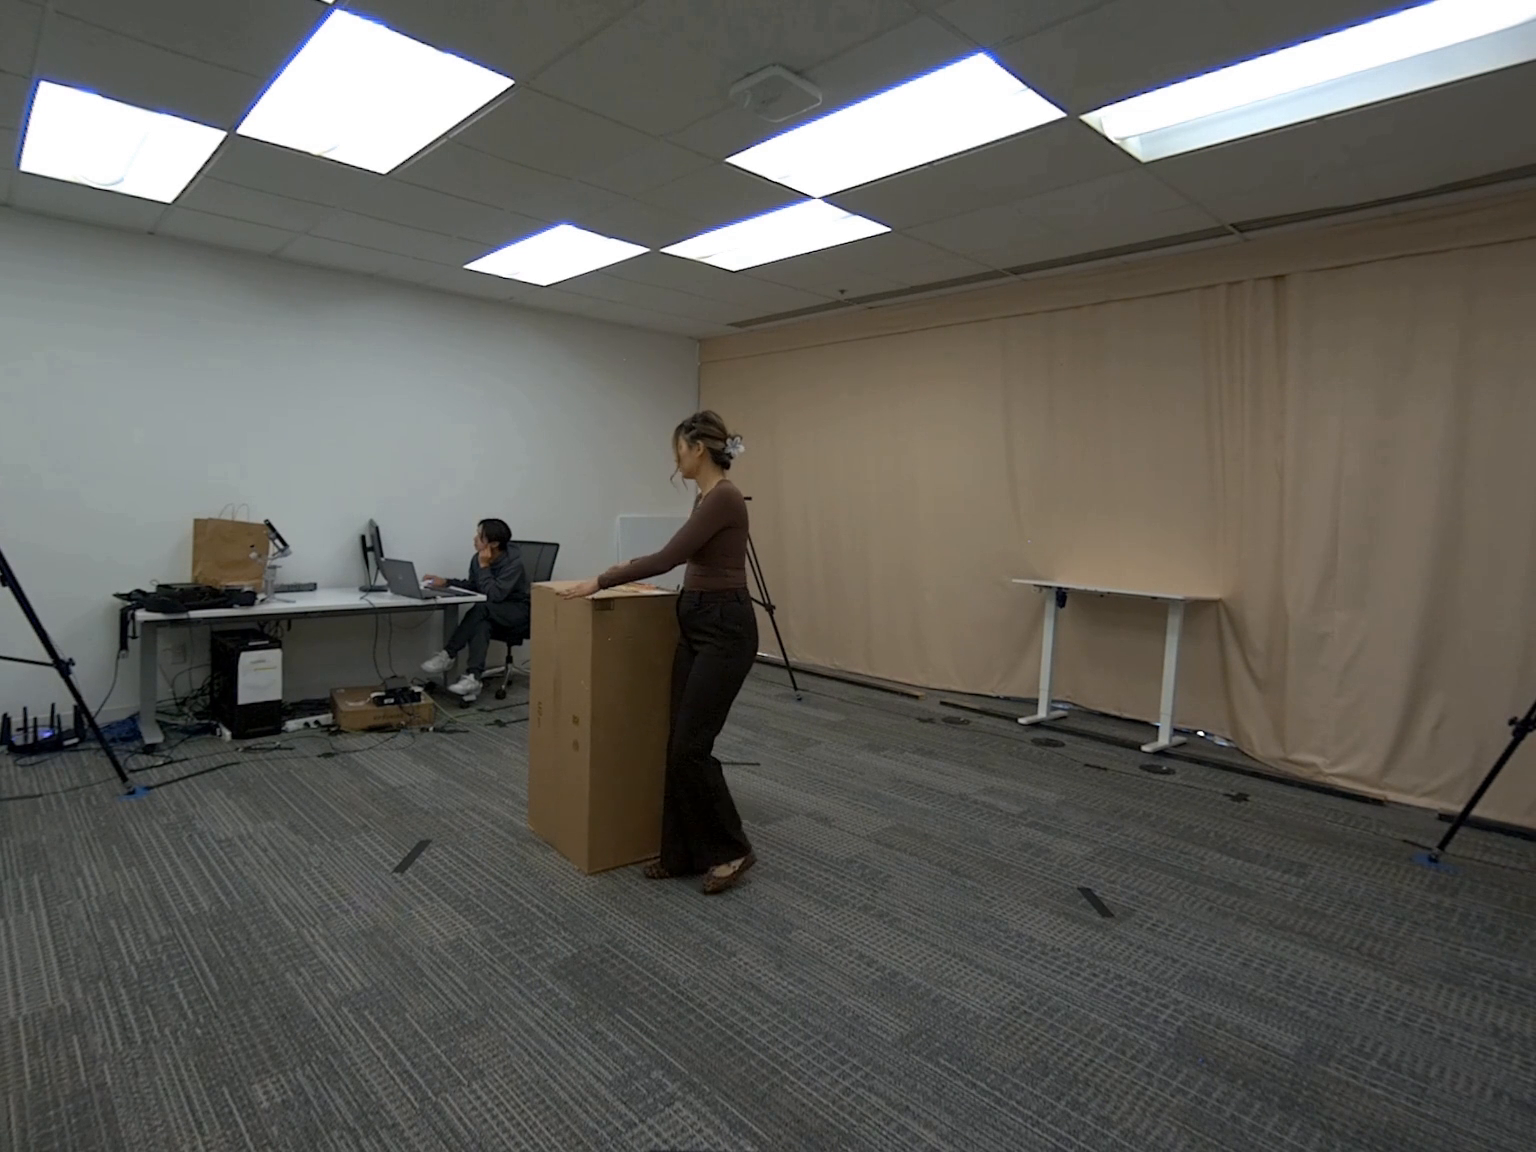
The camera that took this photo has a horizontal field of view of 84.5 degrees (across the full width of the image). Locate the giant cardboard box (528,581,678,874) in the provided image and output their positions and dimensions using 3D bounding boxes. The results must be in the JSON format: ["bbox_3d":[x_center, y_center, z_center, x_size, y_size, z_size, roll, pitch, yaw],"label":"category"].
[{"bbox_3d":[-0.666,0.556,3.411,0.437,1.025,0.598,0,4,-35],"label":"giant cardboard box"}]
